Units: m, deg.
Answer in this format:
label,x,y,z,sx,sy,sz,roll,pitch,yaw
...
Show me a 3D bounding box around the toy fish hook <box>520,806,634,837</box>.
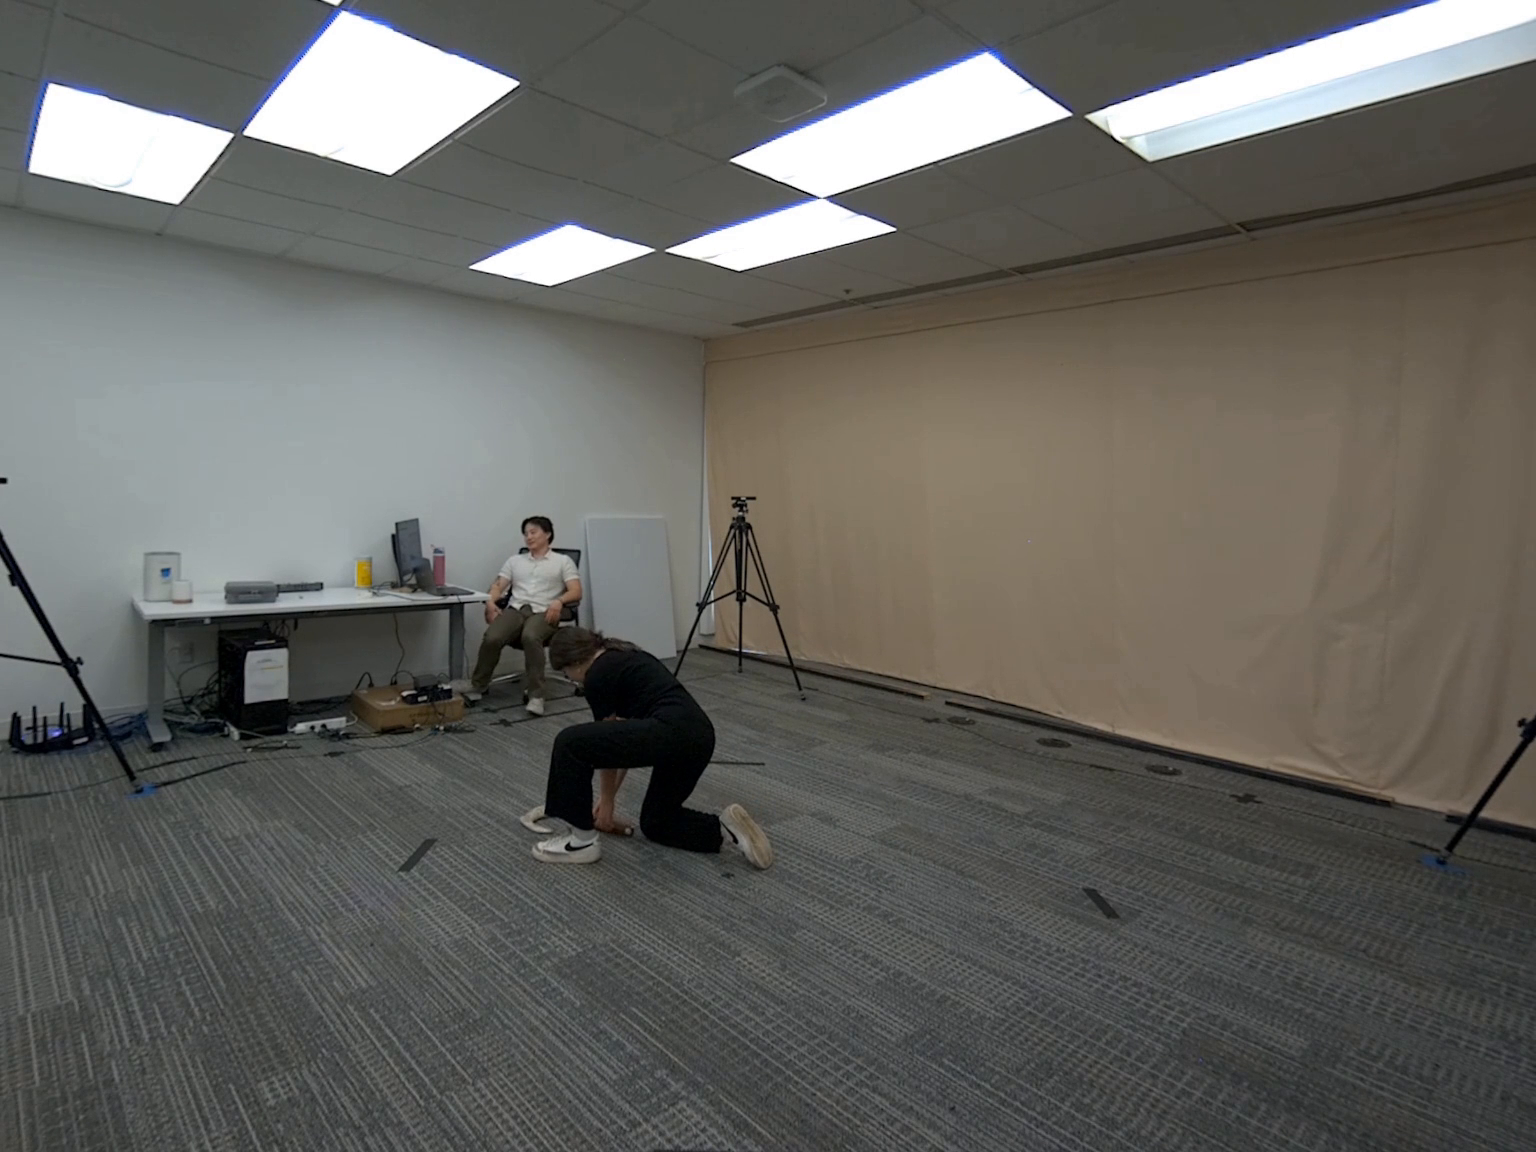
label,x,y,z,sx,sy,sz,roll,pitch,yaw
toy fish hook,-0.802,1.034,3.497,0.516,0.048,0.222,3,13,24
